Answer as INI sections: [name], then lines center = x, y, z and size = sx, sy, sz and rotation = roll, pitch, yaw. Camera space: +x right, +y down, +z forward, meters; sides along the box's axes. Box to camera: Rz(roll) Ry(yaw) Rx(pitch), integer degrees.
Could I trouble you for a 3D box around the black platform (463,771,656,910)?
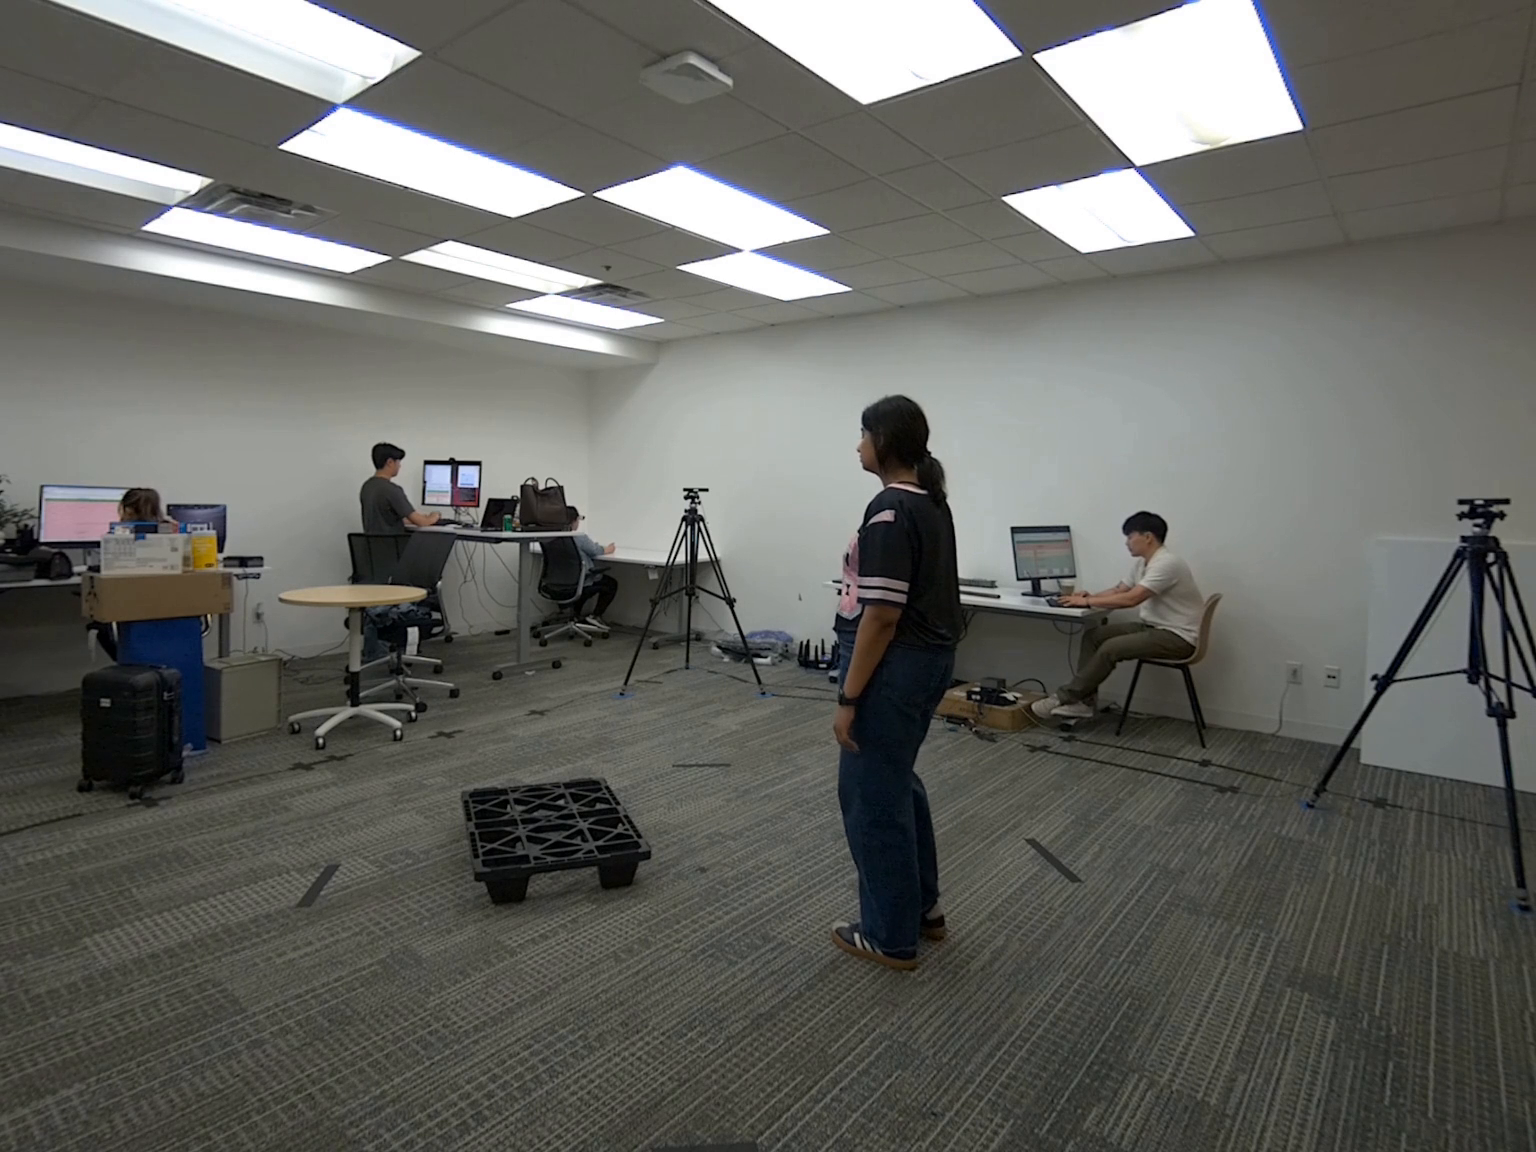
[black platform]
center = -0.835, 0.974, 3.226
size = 0.593, 0.143, 0.825
rotation = -1, 6, -21
